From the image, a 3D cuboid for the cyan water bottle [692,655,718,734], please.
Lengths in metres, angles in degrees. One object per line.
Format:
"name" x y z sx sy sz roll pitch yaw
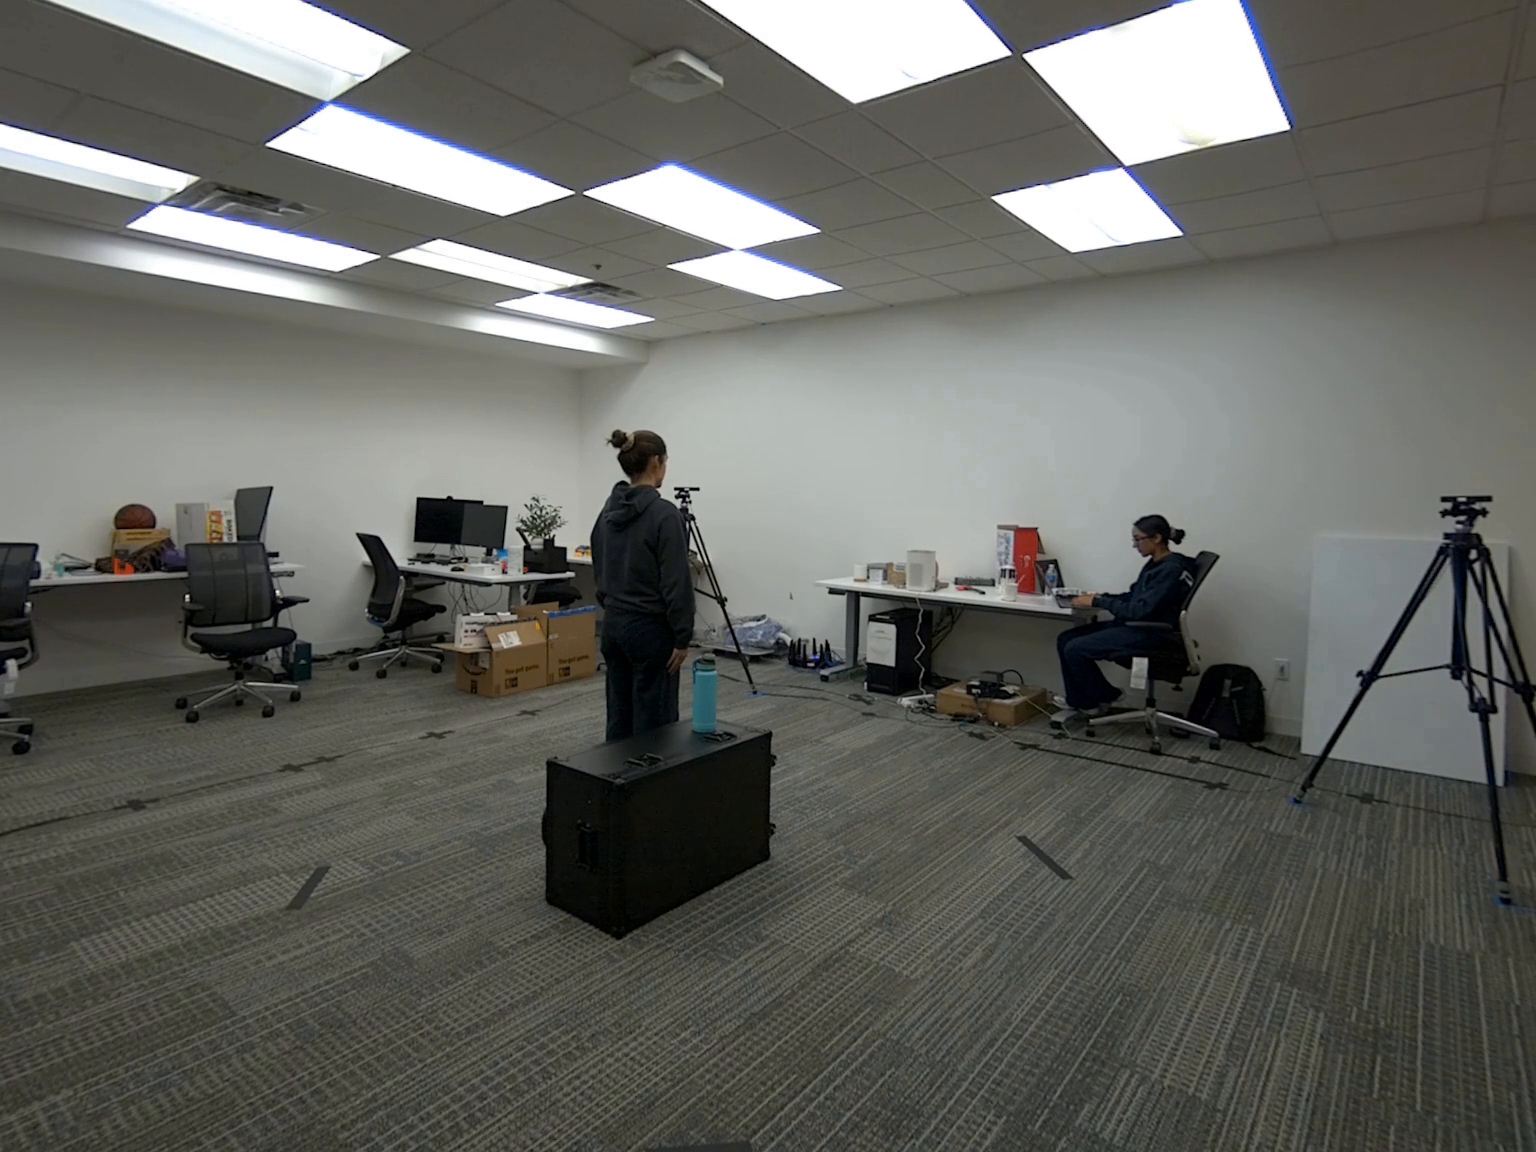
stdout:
"cyan water bottle" -0.238 0.435 3.199 0.092 0.282 0.093 1 4 -2
